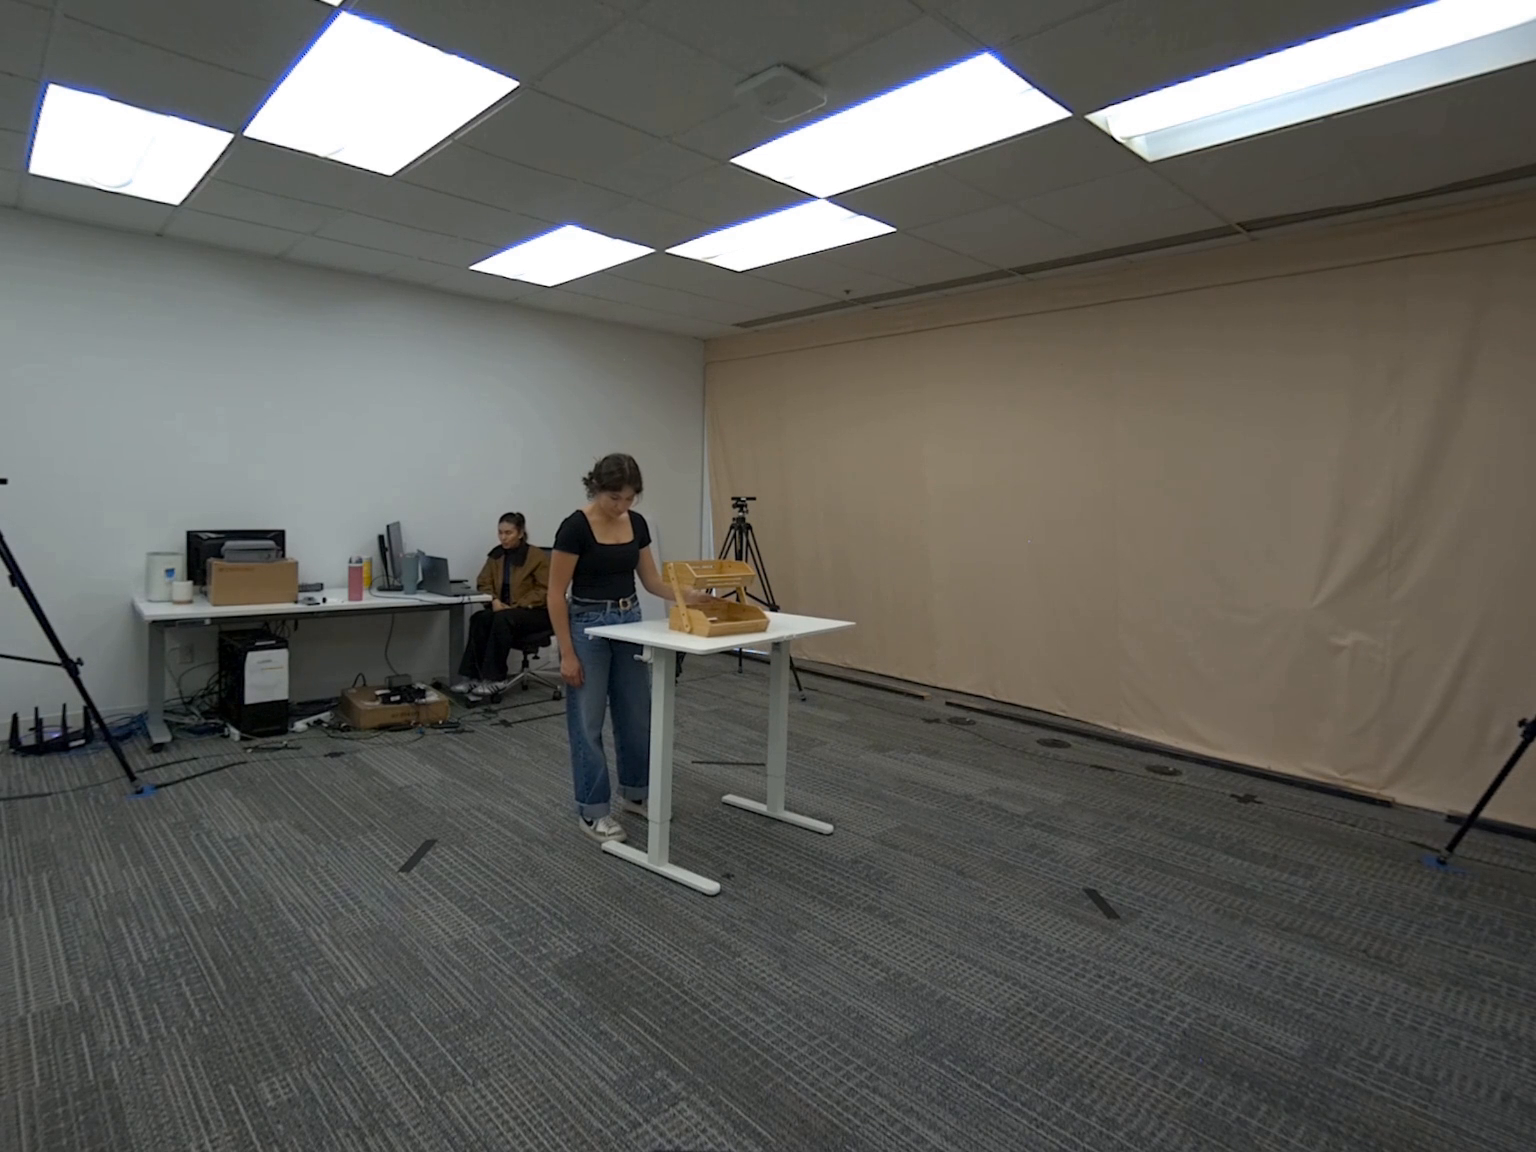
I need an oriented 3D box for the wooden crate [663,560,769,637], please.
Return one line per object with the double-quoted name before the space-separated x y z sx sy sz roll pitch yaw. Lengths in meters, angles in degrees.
"wooden crate" -0.209 0.075 3.259 0.317 0.273 0.309 -1 4 -42
